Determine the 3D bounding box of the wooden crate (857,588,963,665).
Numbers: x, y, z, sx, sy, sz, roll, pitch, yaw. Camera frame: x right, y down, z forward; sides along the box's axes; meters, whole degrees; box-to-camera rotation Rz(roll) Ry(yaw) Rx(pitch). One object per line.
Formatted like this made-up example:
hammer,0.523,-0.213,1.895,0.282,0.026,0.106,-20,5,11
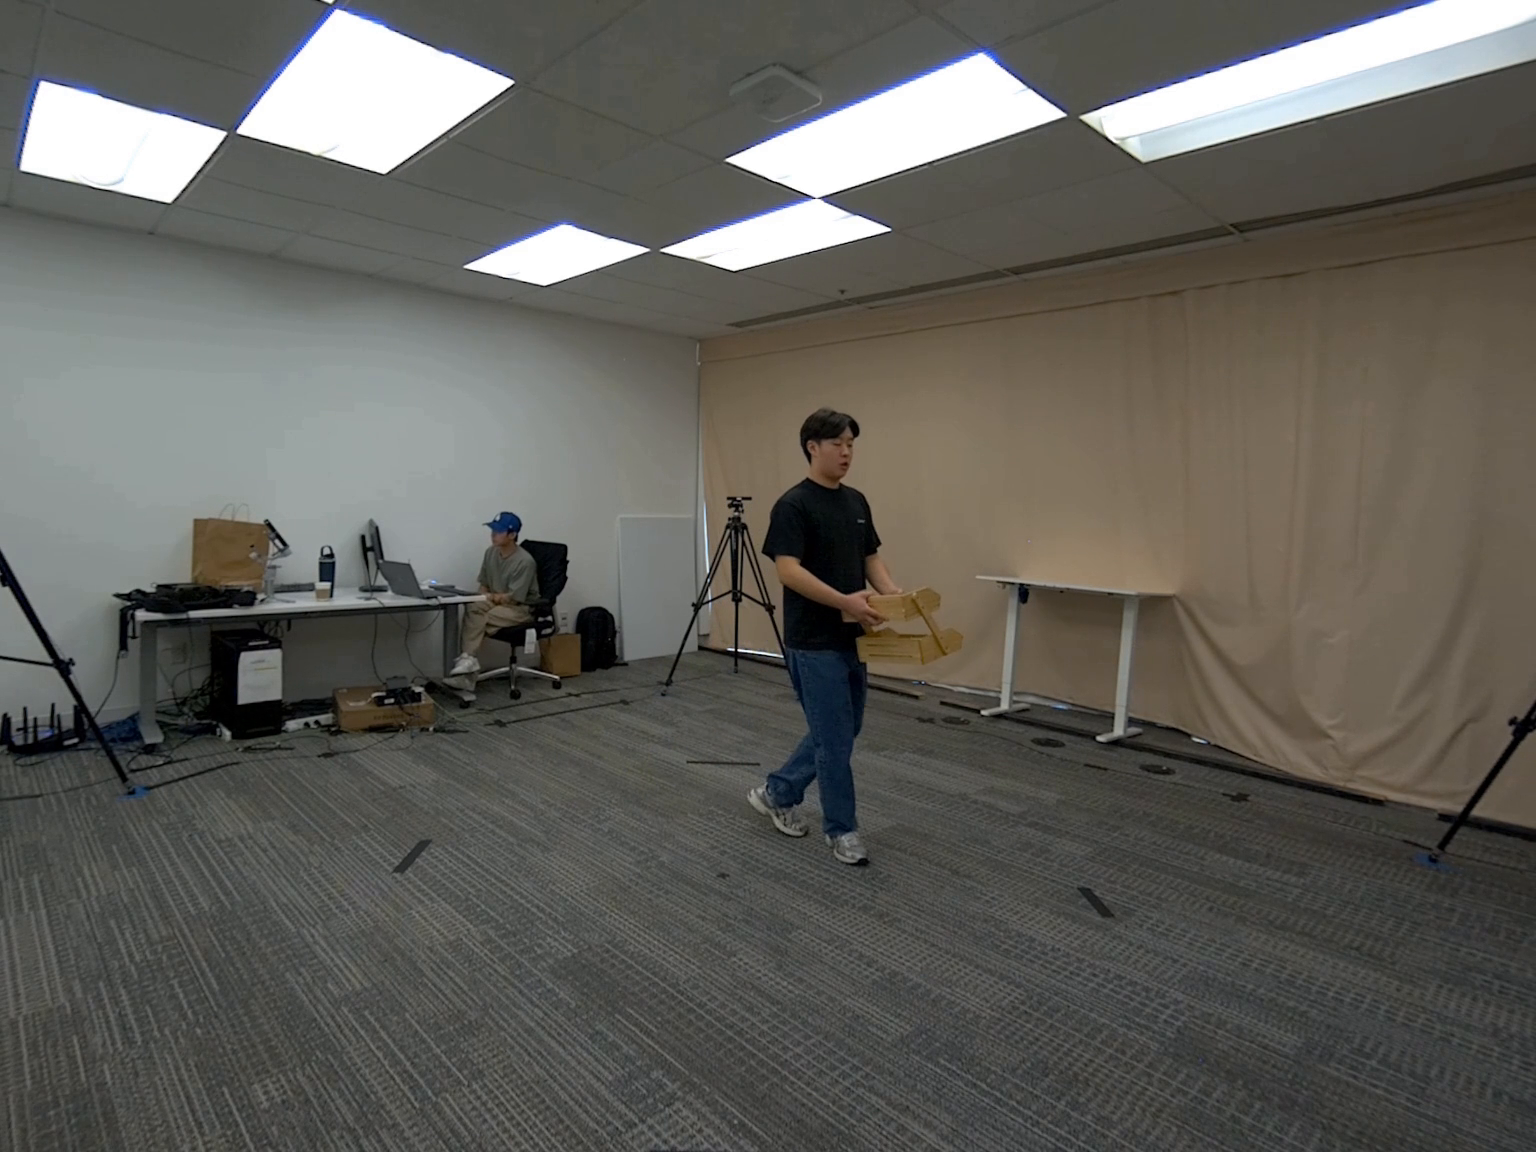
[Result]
wooden crate,0.495,0.166,3.129,0.297,0.272,0.331,-16,7,-41
